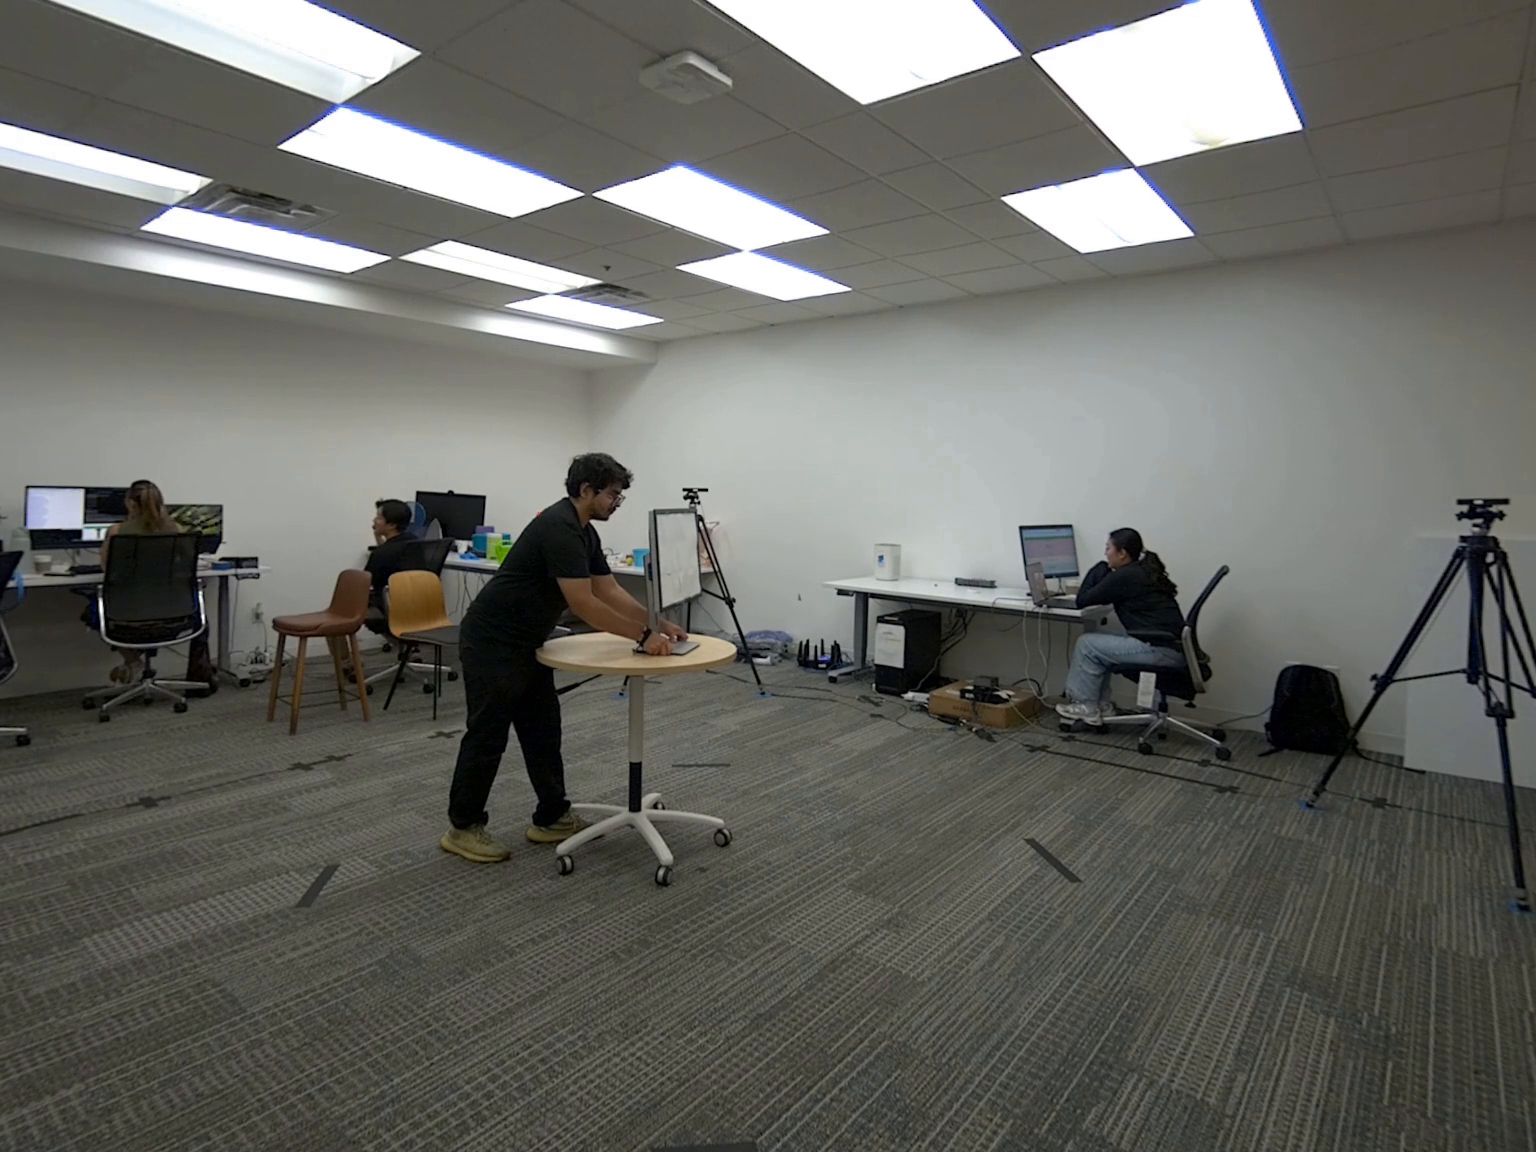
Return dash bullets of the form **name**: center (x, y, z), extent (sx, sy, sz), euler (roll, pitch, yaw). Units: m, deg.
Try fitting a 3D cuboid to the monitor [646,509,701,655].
- **monitor**: center (-0.415, 0.012, 3.248), extent (0.213, 0.553, 0.559), euler (0, 3, 11)
